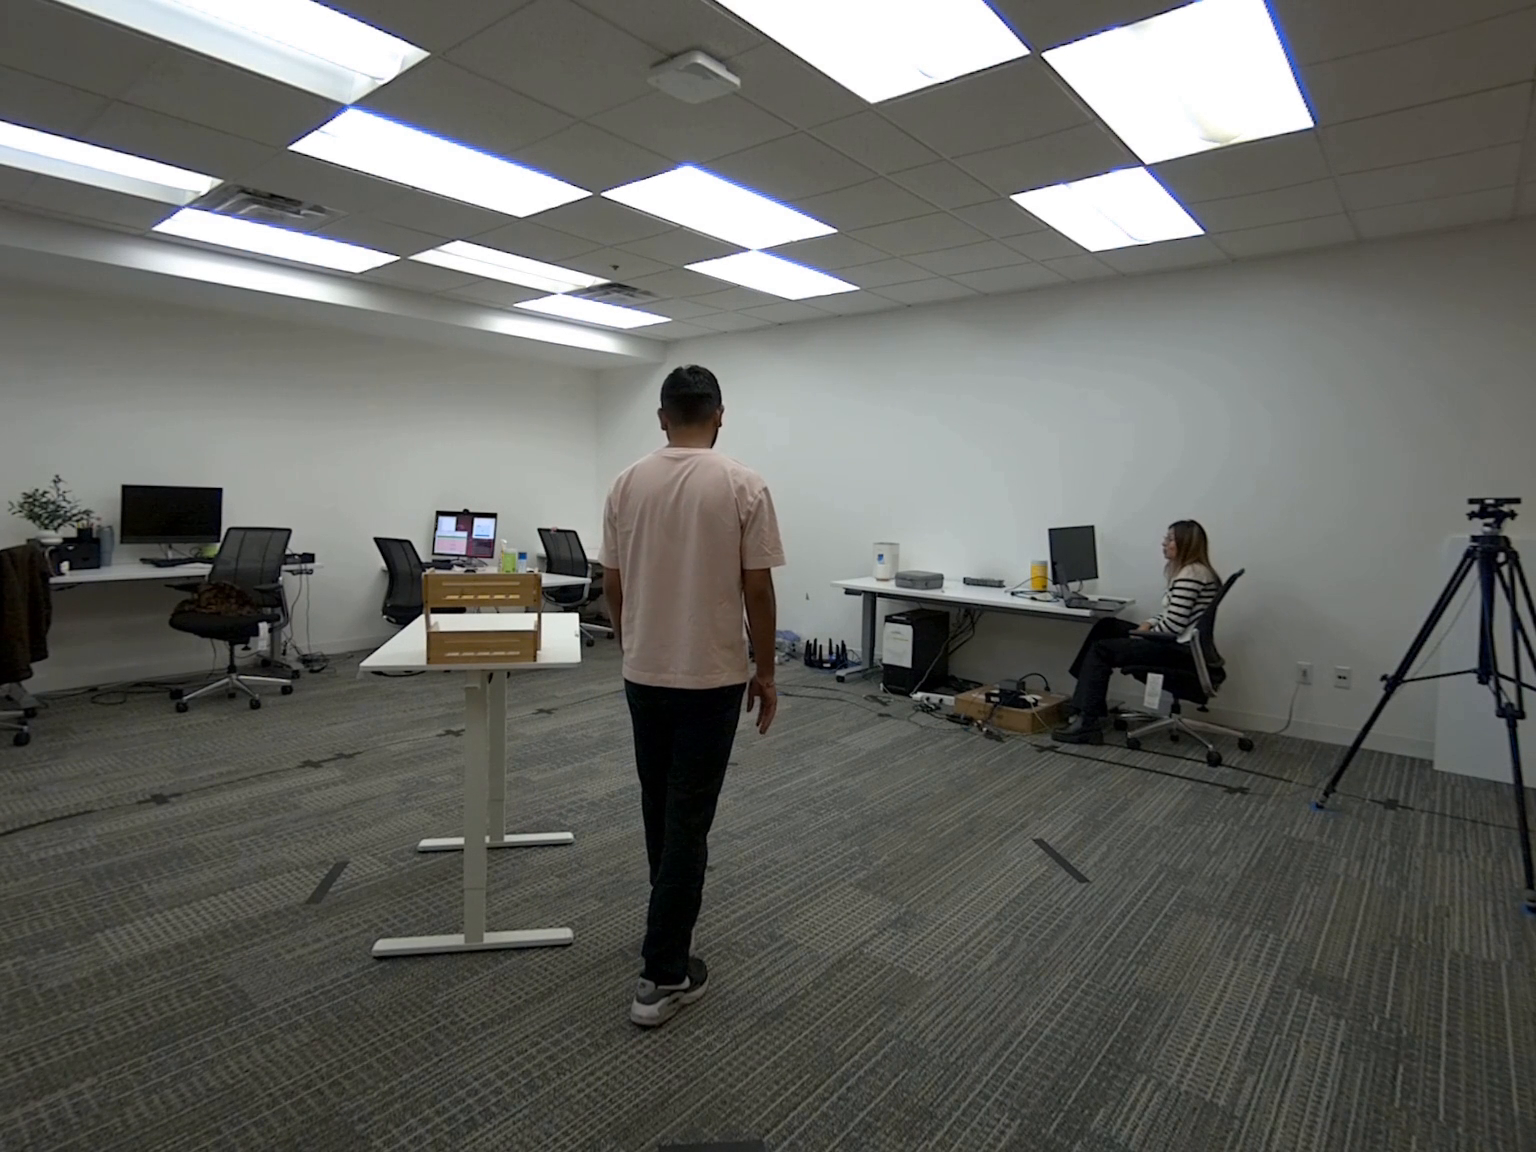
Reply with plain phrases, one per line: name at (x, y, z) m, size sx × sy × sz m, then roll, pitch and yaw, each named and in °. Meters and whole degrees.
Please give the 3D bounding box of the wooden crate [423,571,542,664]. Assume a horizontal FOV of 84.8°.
wooden crate at (-0.843, 0.101, 2.484) m, size 0.320 × 0.272 × 0.308 m, roll -1°, pitch 7°, yaw -14°
